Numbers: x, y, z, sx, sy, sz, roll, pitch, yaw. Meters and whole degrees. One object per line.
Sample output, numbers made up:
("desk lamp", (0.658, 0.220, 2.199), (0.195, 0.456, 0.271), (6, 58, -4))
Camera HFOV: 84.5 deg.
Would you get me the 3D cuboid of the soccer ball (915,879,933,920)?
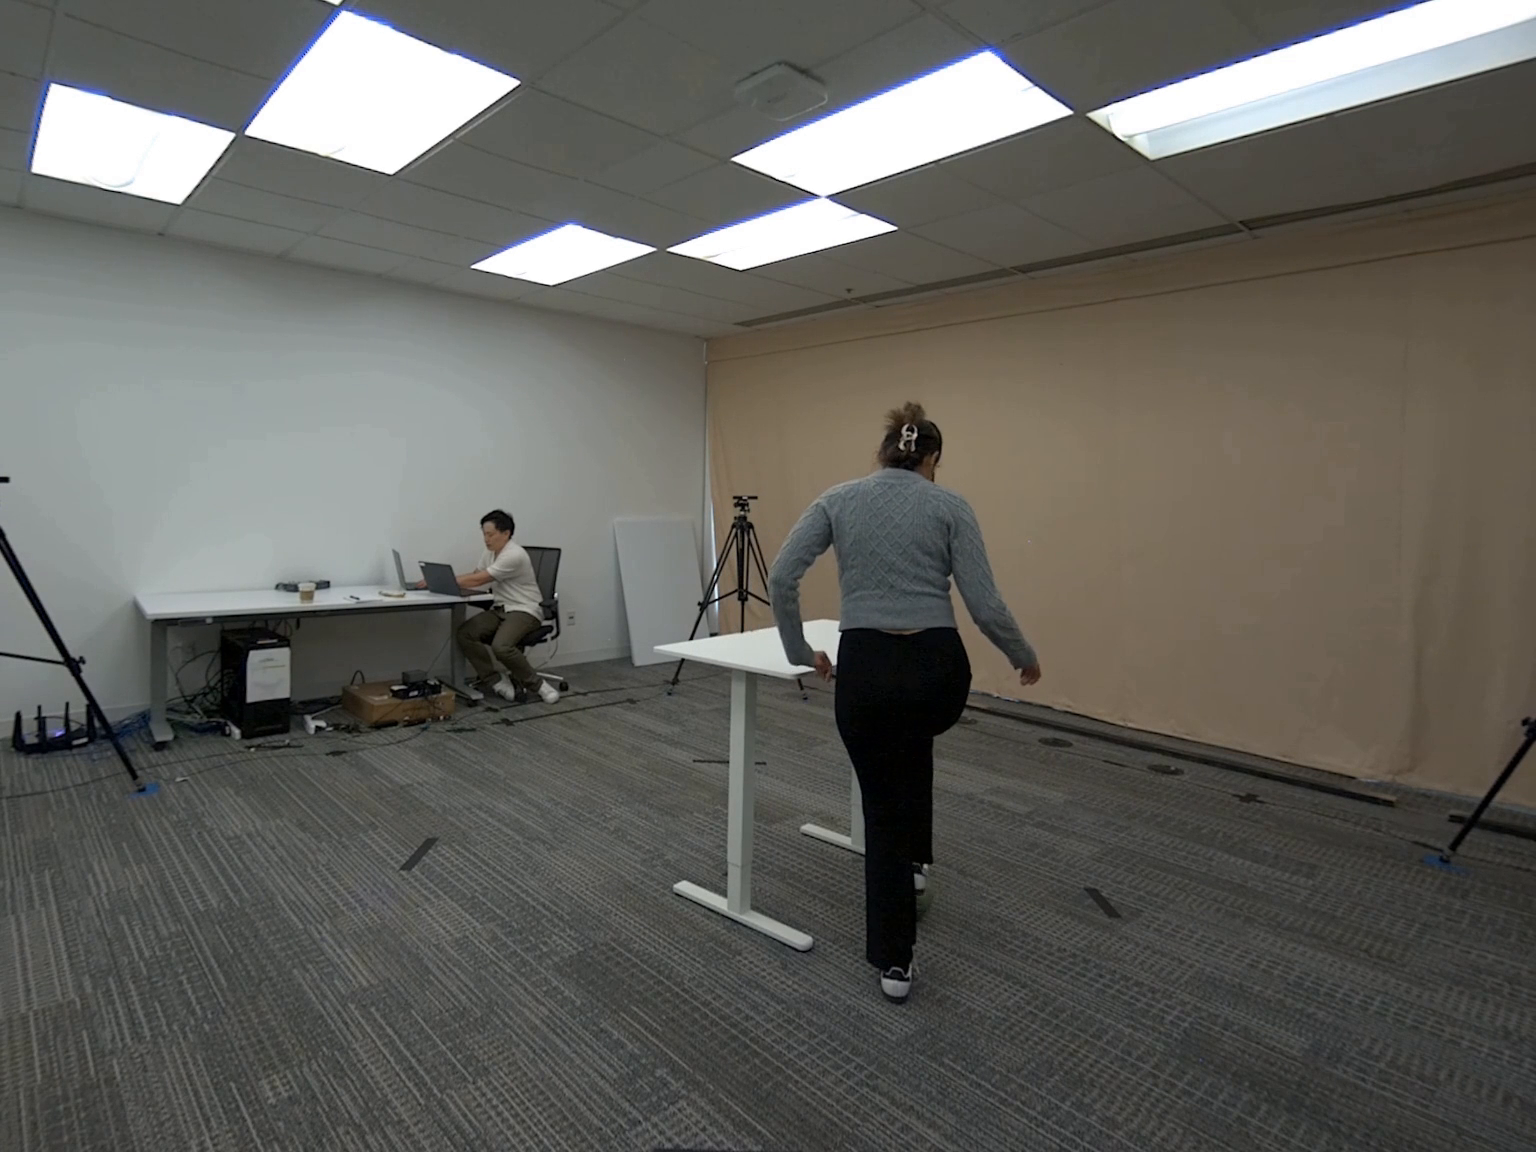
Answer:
("soccer ball", (0.454, 1.054, 2.819), (0.187, 0.187, 0.188), (1, 4, -1))
